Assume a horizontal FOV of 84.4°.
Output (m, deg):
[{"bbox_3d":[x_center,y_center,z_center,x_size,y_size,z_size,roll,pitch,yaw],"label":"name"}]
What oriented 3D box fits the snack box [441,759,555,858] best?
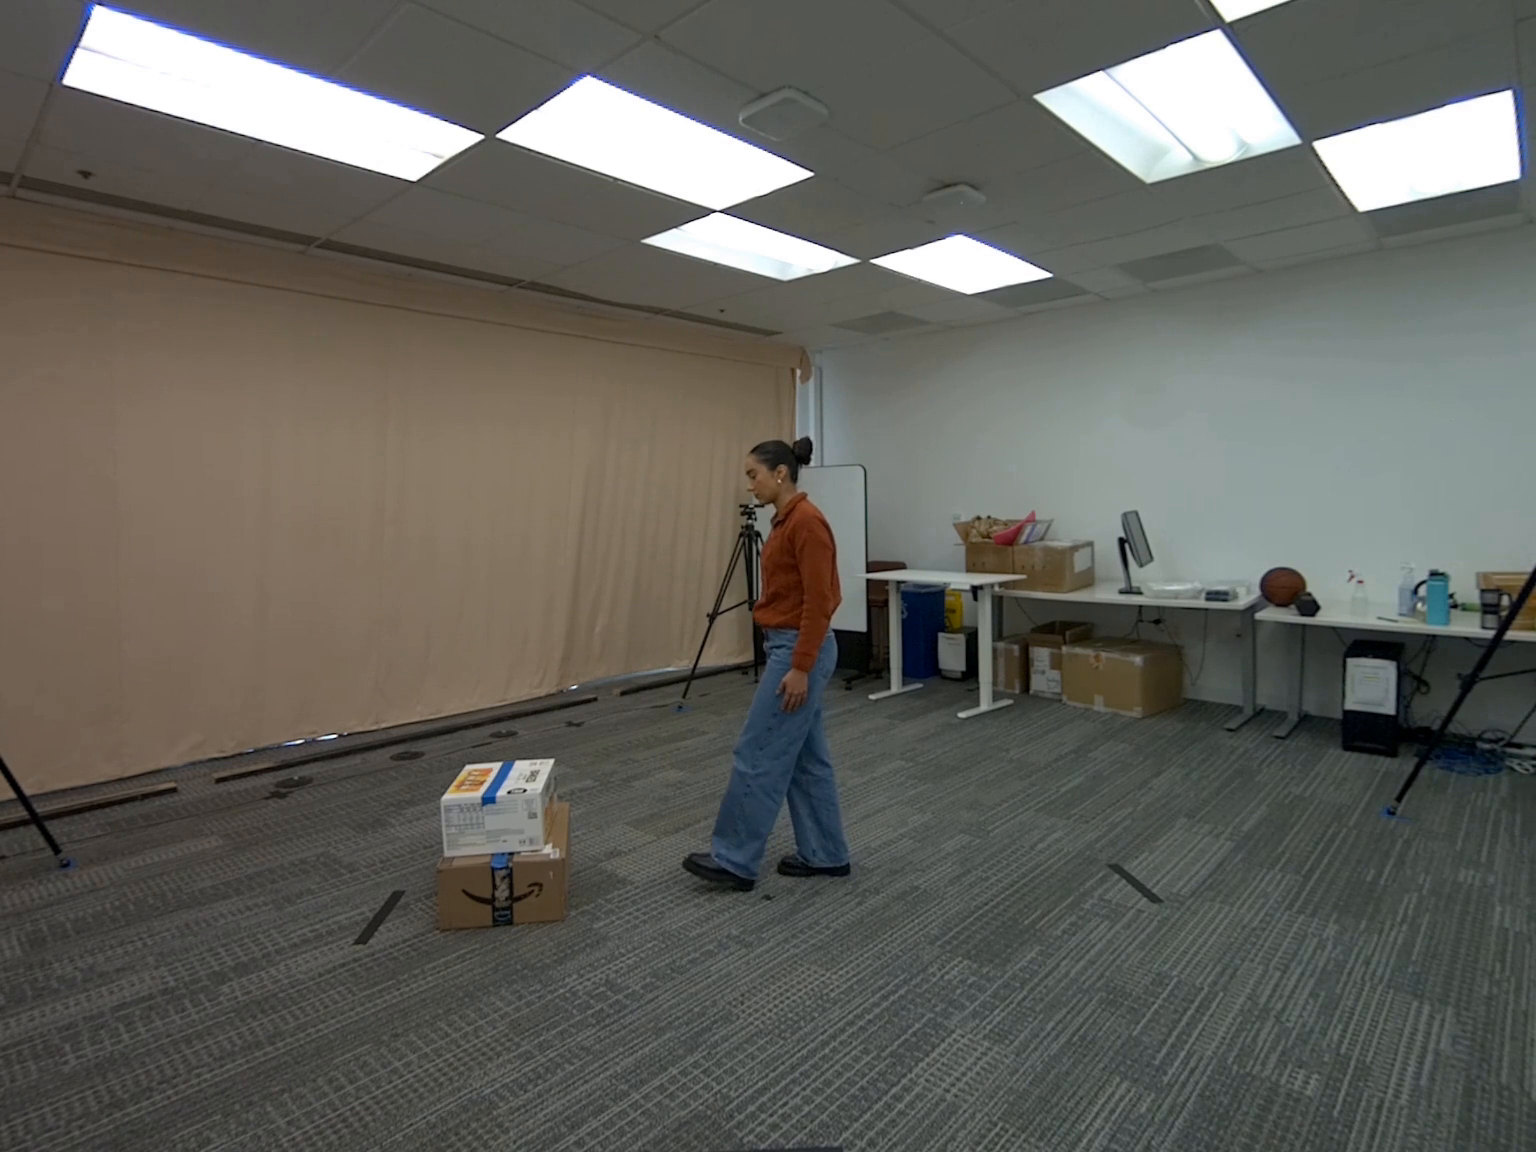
[{"bbox_3d":[-0.968,0.839,3.075,0.338,0.205,0.408,-4,4,-6],"label":"snack box"}]
